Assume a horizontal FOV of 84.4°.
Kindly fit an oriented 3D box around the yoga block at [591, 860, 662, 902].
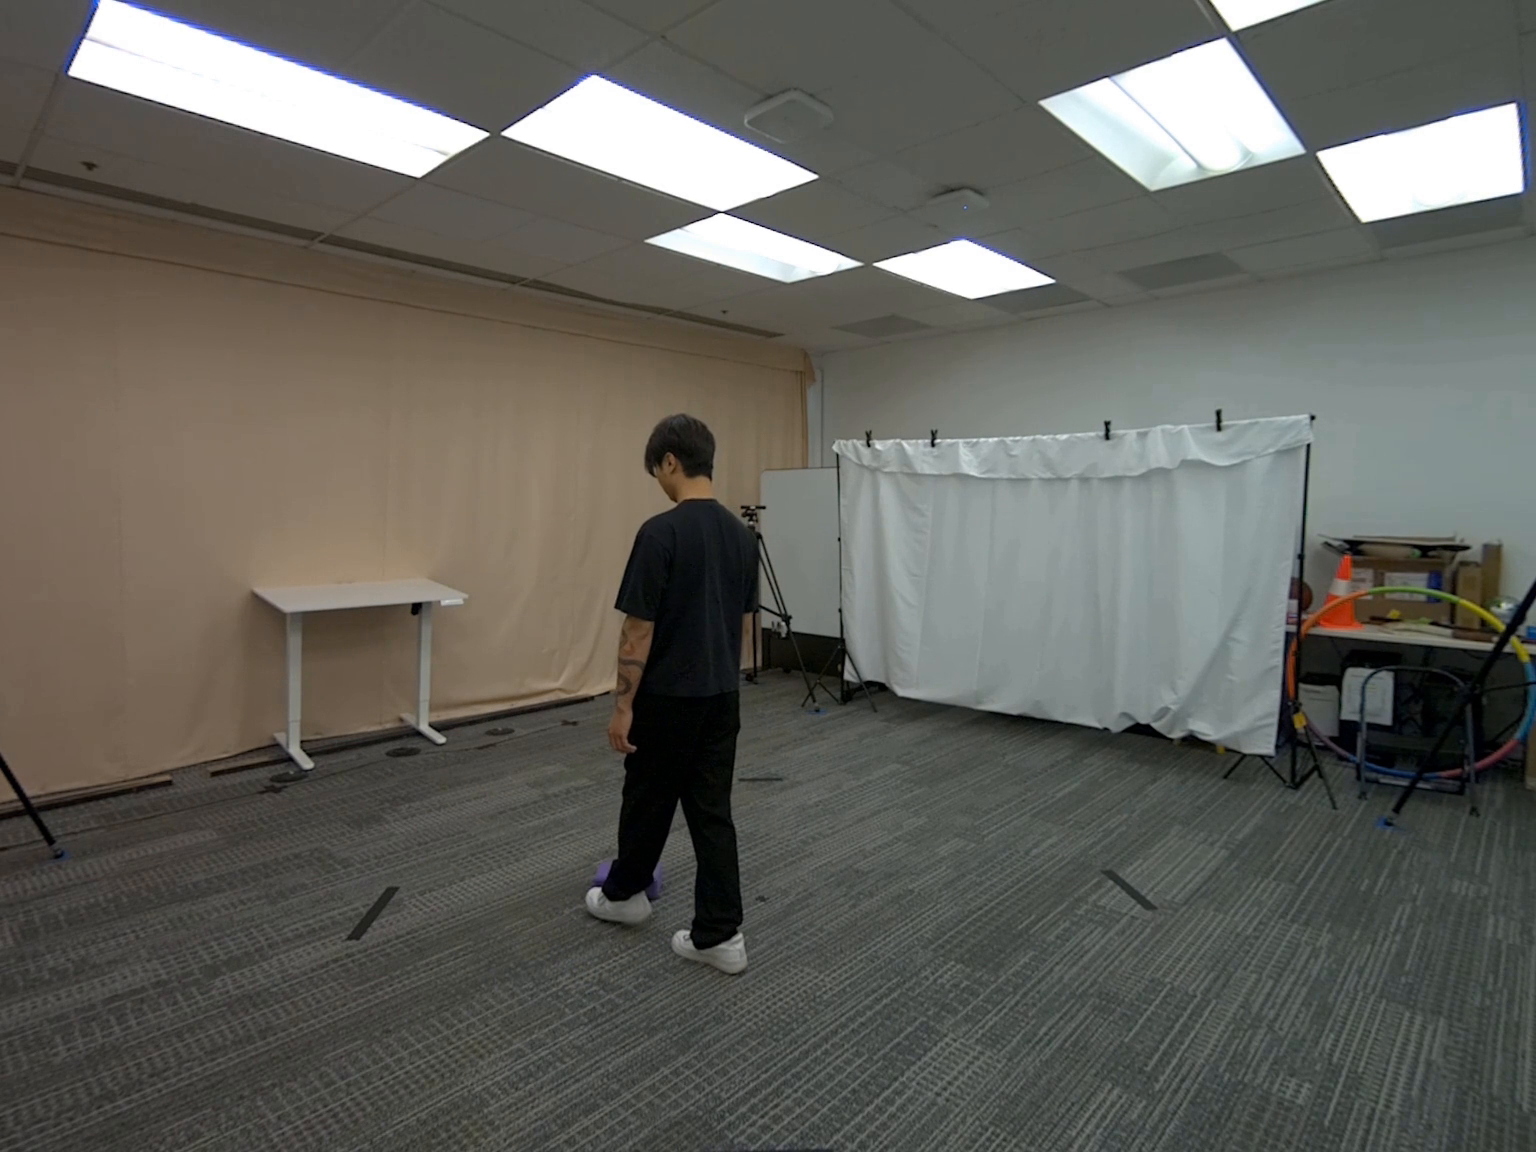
[{"bbox_3d":[-0.509,1.104,3.045,0.230,0.076,0.149,1,4,2],"label":"yoga block"}]
